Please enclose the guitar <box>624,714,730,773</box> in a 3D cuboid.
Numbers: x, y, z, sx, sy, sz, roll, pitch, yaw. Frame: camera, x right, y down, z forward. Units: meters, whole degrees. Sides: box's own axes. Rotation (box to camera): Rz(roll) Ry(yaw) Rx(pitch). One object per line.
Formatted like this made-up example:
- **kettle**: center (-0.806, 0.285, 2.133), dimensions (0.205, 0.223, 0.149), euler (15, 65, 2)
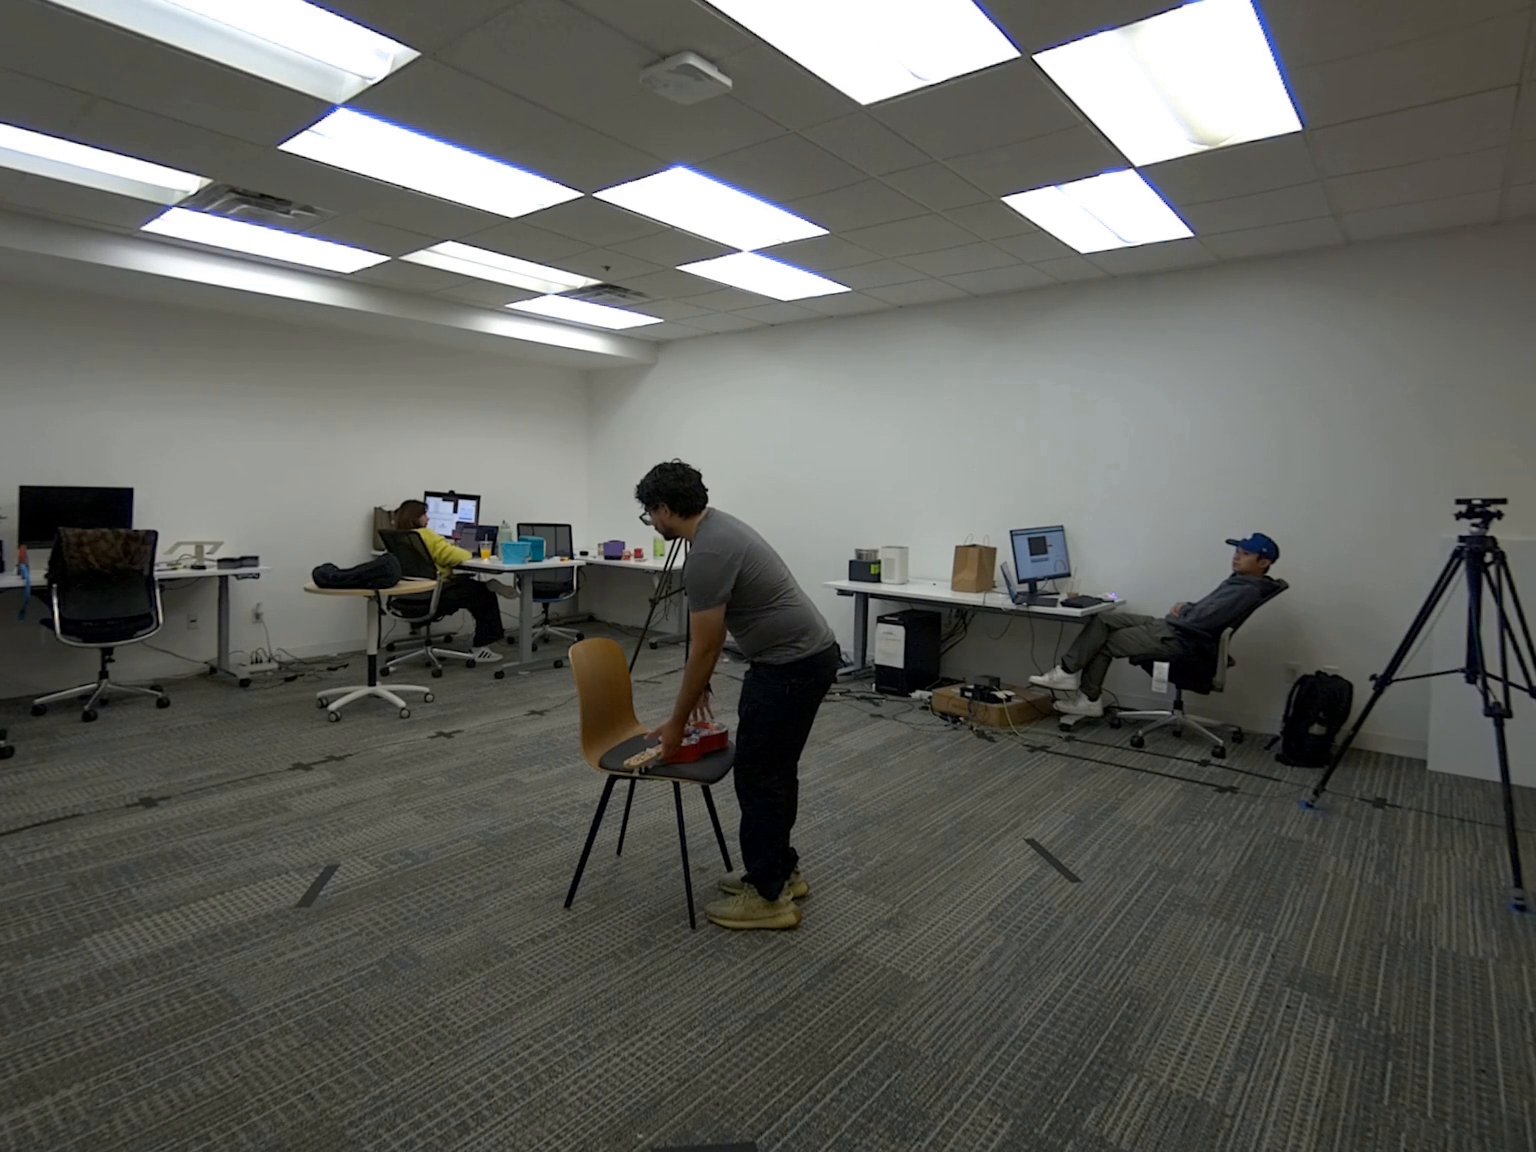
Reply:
- **guitar**: center (-0.353, 0.584, 2.876), dimensions (0.199, 0.070, 0.484), euler (4, 9, 39)
